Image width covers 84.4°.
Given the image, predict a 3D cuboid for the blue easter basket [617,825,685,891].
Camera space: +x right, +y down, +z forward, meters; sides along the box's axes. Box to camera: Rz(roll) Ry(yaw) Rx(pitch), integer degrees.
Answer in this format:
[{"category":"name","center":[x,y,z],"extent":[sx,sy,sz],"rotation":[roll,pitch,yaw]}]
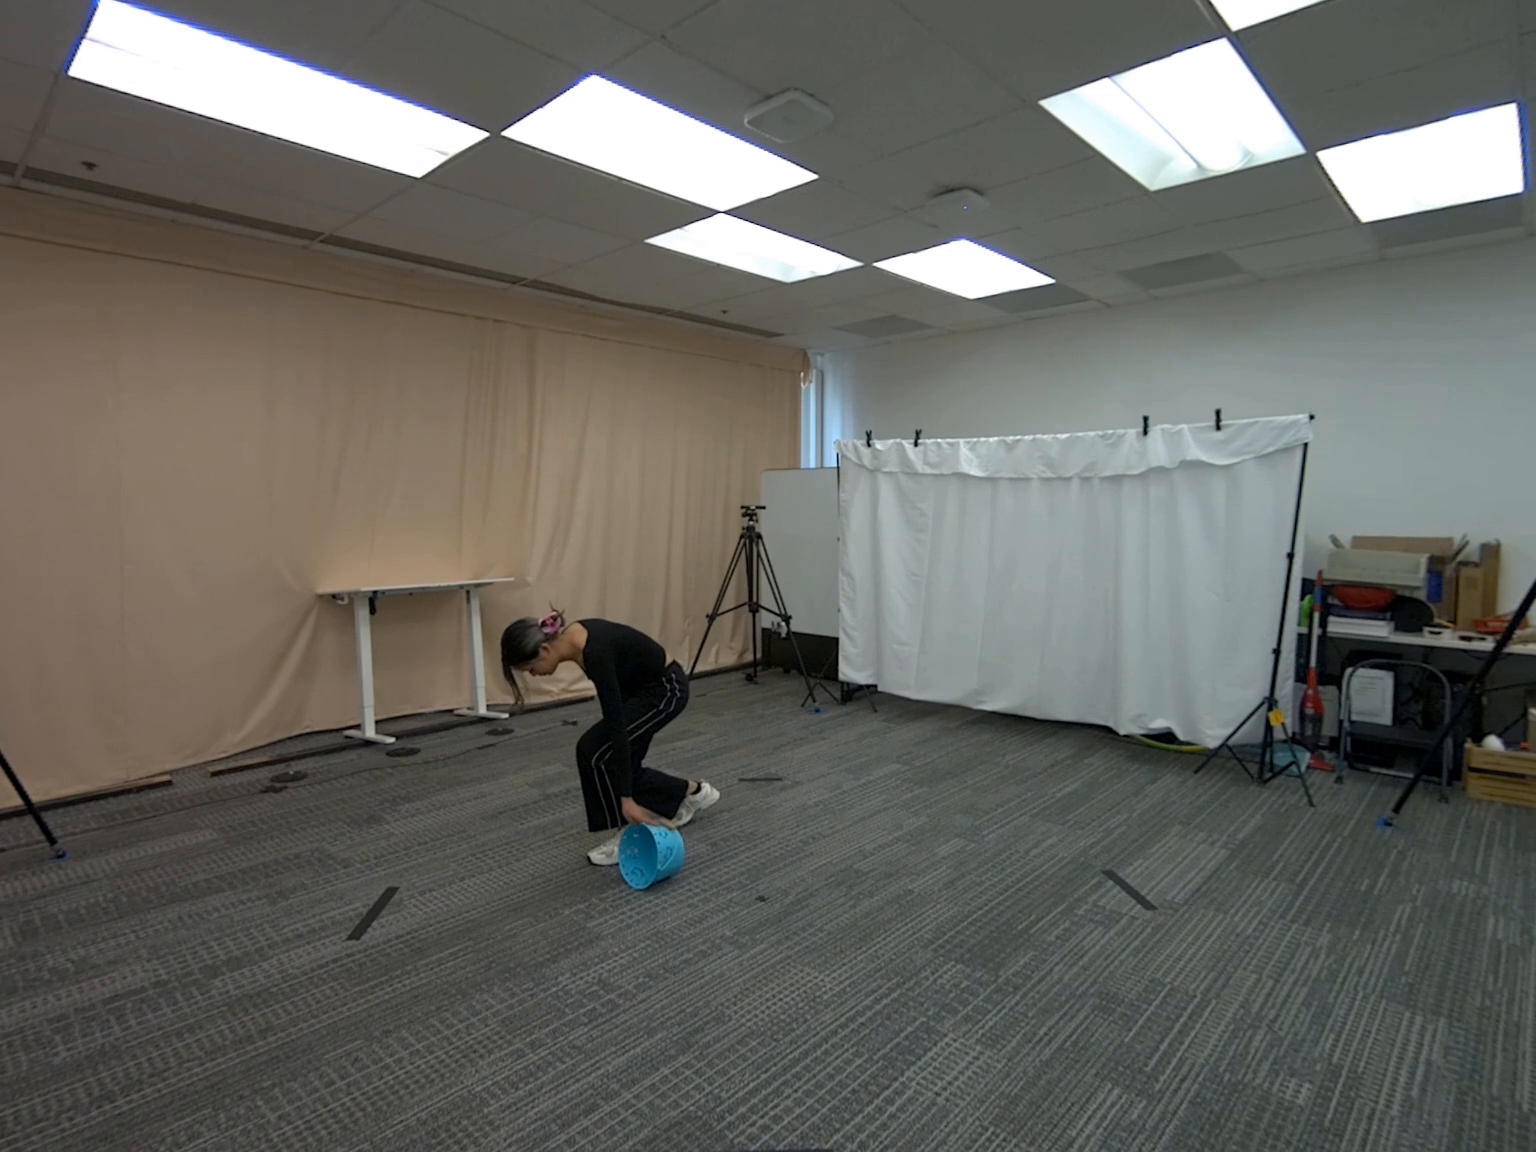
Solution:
[{"category":"blue easter basket","center":[-0.423,1.024,3.135],"extent":[0.252,0.244,0.150],"rotation":[4,-5,44]}]
